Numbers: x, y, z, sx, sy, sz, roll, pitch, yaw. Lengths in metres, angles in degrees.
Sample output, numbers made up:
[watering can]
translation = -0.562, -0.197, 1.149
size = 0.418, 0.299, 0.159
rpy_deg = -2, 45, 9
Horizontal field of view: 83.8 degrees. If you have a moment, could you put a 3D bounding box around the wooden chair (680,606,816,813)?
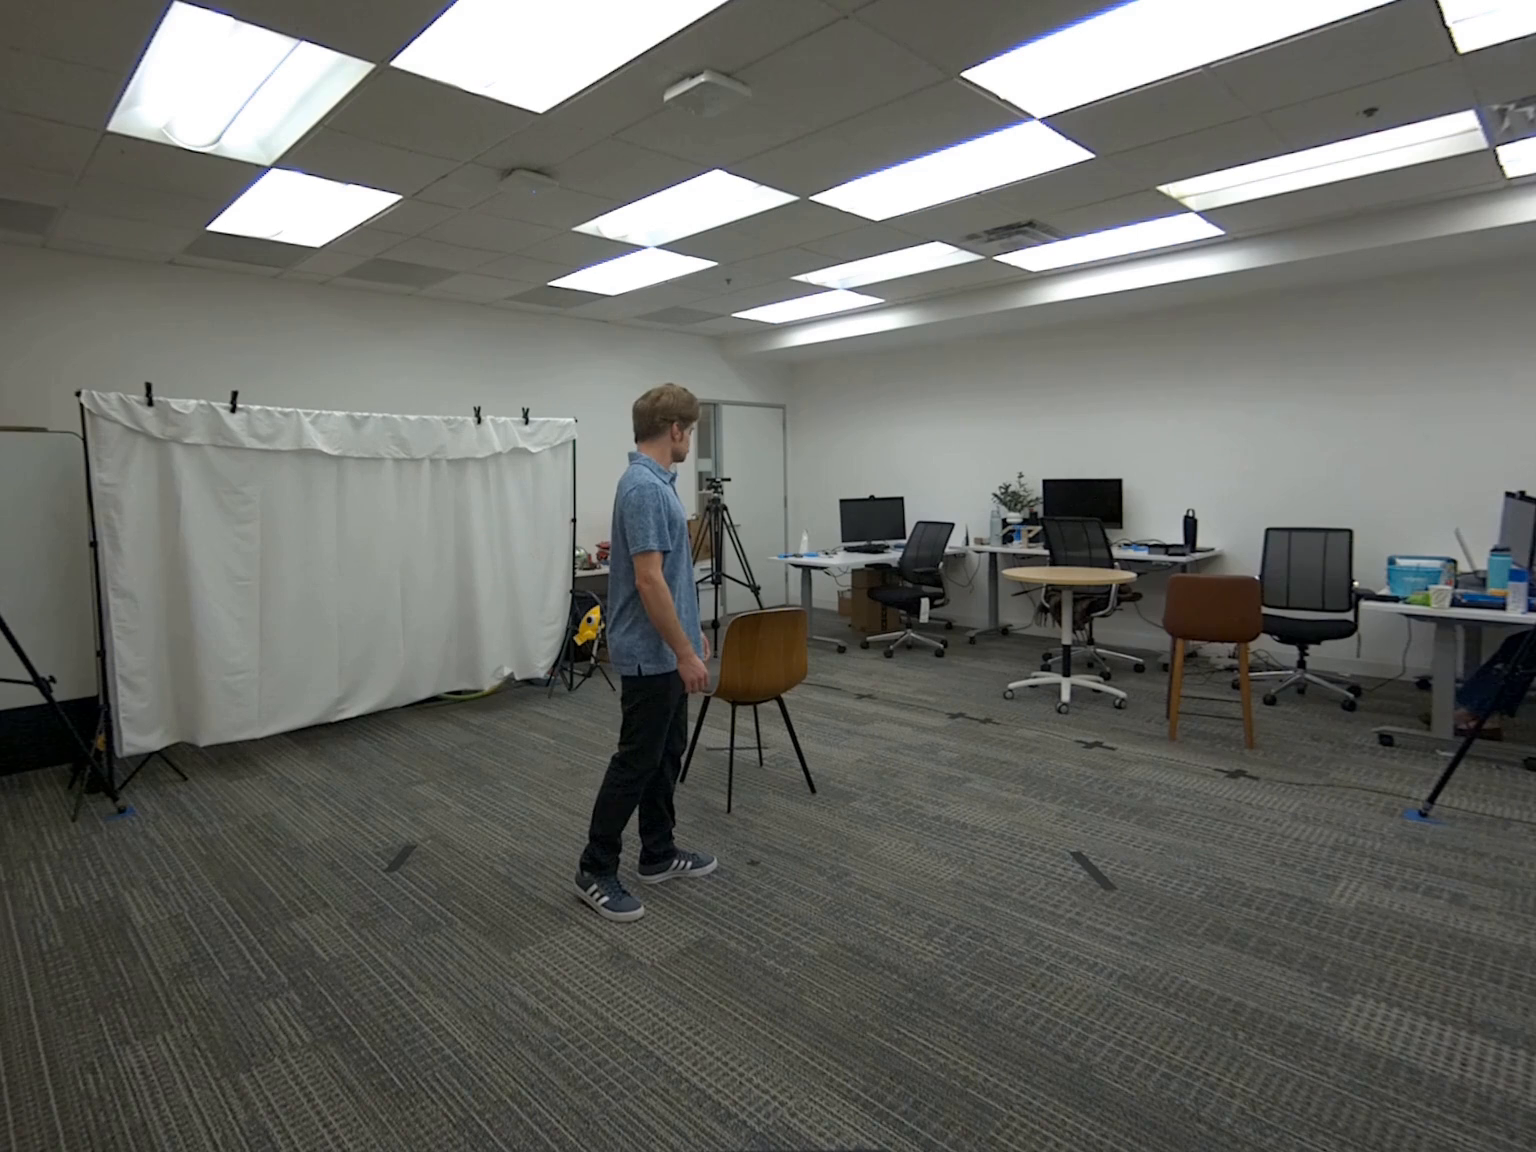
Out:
[wooden chair]
translation = -0.106, 0.530, 3.843
size = 0.467, 0.871, 0.539
rpy_deg = -4, 9, -31
